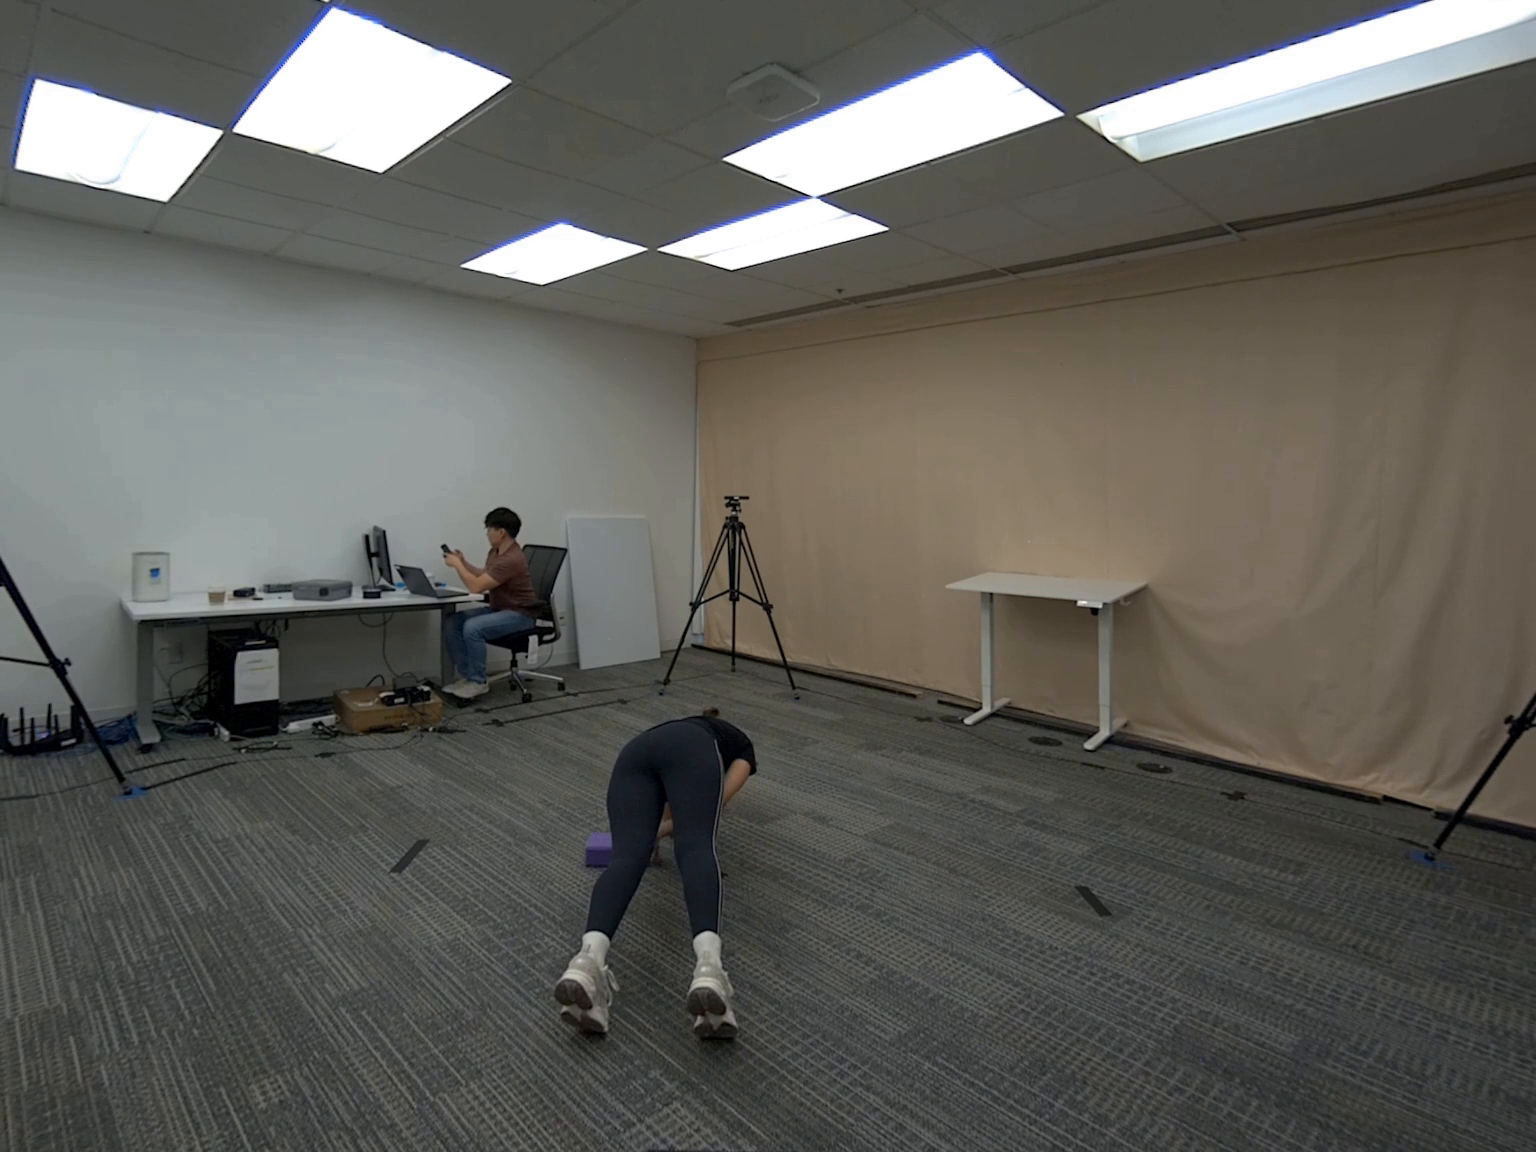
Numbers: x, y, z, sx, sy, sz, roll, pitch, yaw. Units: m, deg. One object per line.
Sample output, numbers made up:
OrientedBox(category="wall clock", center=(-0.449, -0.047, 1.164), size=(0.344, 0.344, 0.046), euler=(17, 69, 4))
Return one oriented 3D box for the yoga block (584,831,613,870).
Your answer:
OrientedBox(category="yoga block", center=(-0.570, 1.041, 3.211), size=(0.229, 0.076, 0.149), euler=(1, 4, -2))
